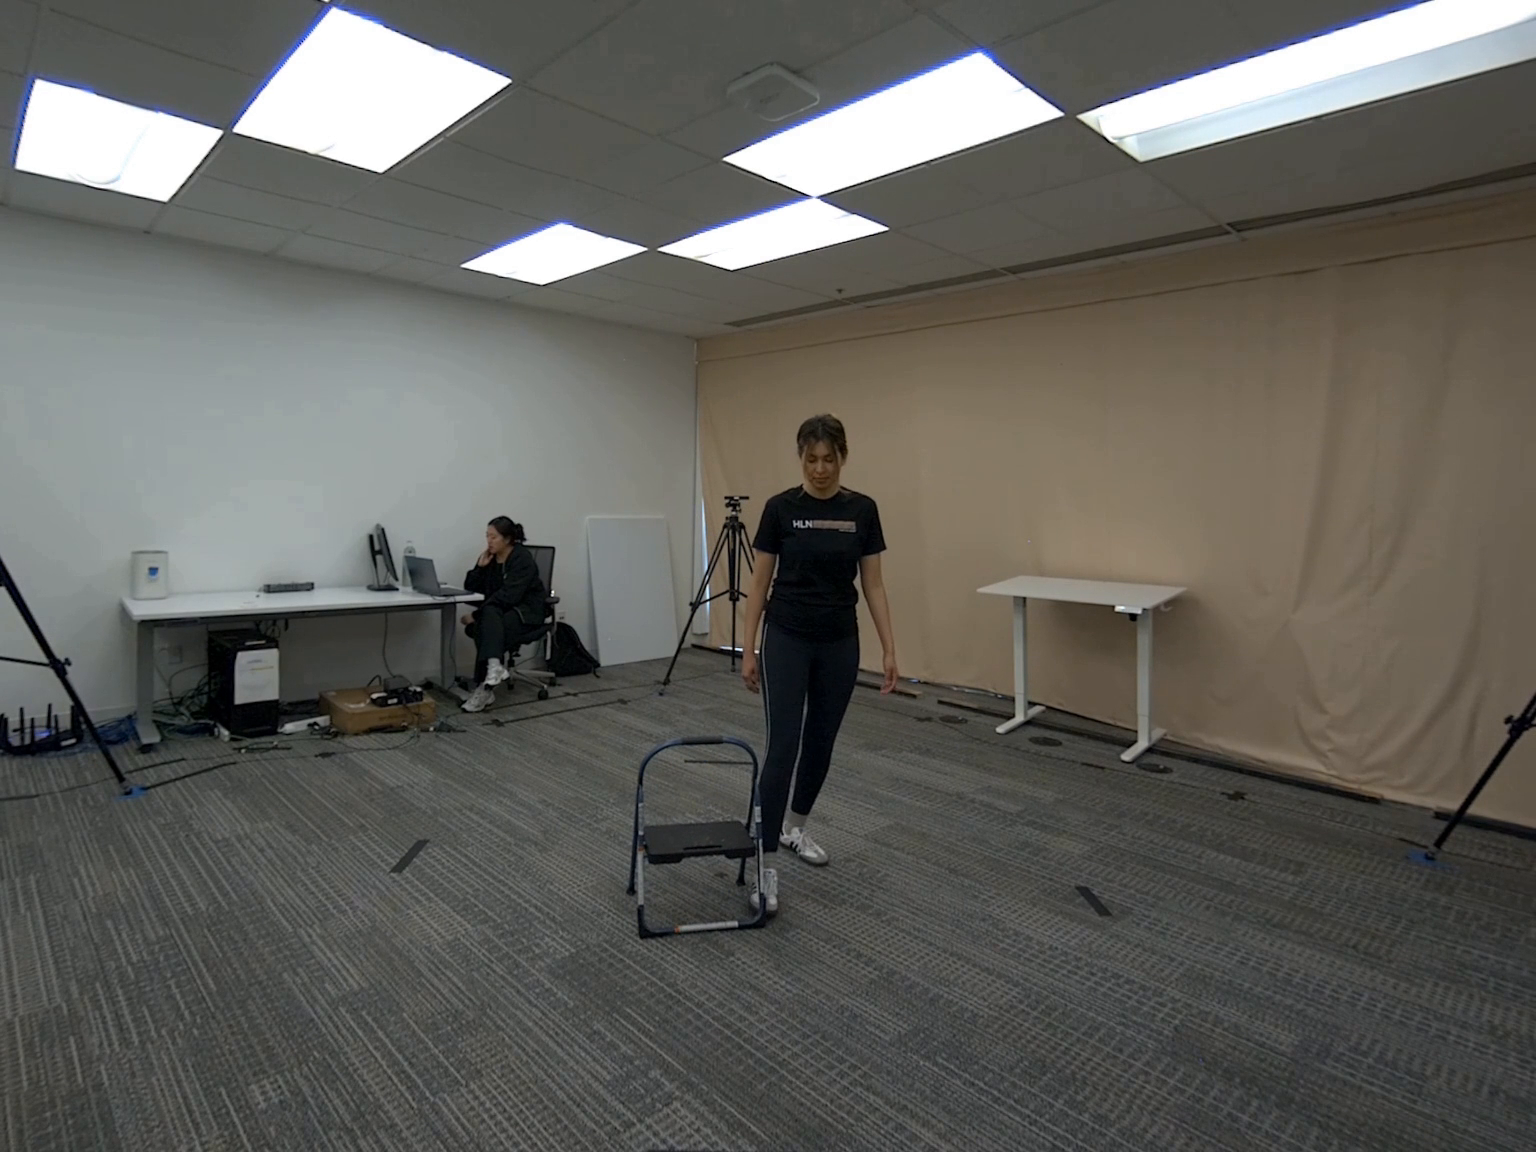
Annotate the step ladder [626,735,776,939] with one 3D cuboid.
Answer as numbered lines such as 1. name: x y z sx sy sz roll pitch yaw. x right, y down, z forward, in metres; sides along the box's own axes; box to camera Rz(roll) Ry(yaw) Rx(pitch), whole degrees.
1. step ladder: -0.249 0.822 2.823 0.426 0.605 0.354 0 3 -14
